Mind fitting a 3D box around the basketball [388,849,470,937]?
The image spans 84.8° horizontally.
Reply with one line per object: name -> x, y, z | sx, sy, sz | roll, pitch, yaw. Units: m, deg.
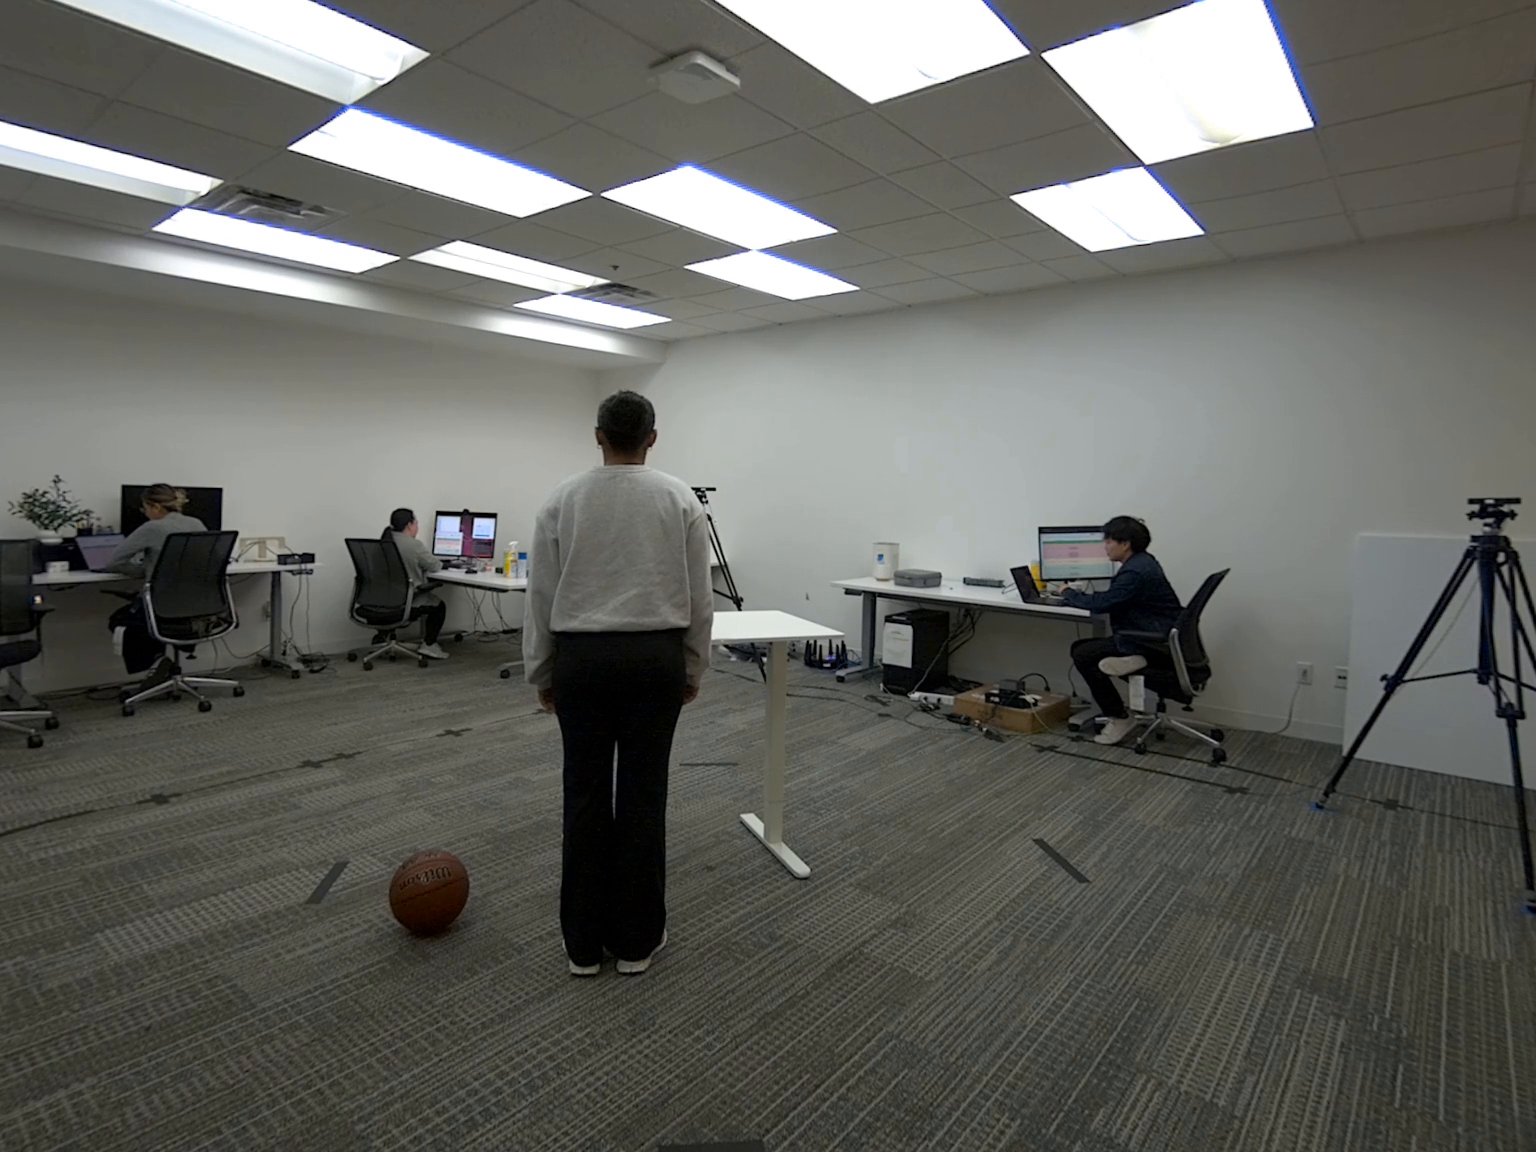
basketball -> -1.063, 0.979, 2.651 | 0.235, 0.235, 0.237 | 1, 4, -2
